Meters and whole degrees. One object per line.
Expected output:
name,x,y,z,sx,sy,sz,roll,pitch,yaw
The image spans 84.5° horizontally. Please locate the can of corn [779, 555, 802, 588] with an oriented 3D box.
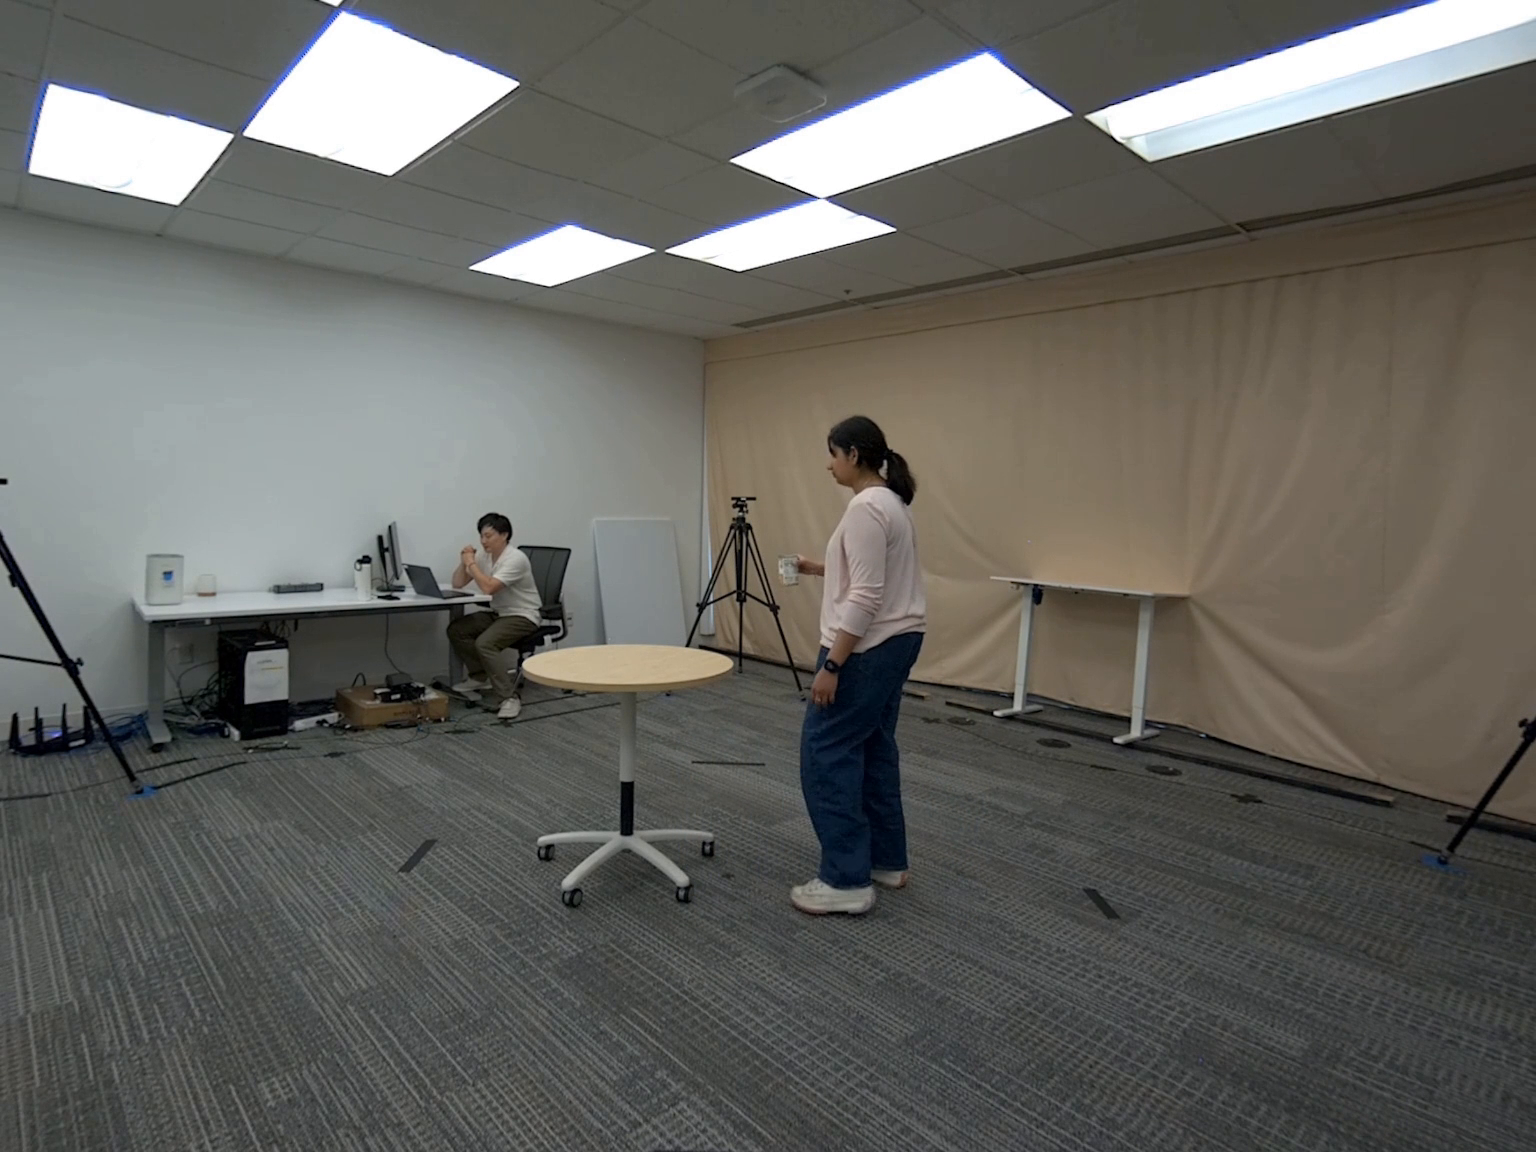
can of corn,0.082,-0.021,3.215,0.074,0.110,0.074,-3,5,-1
